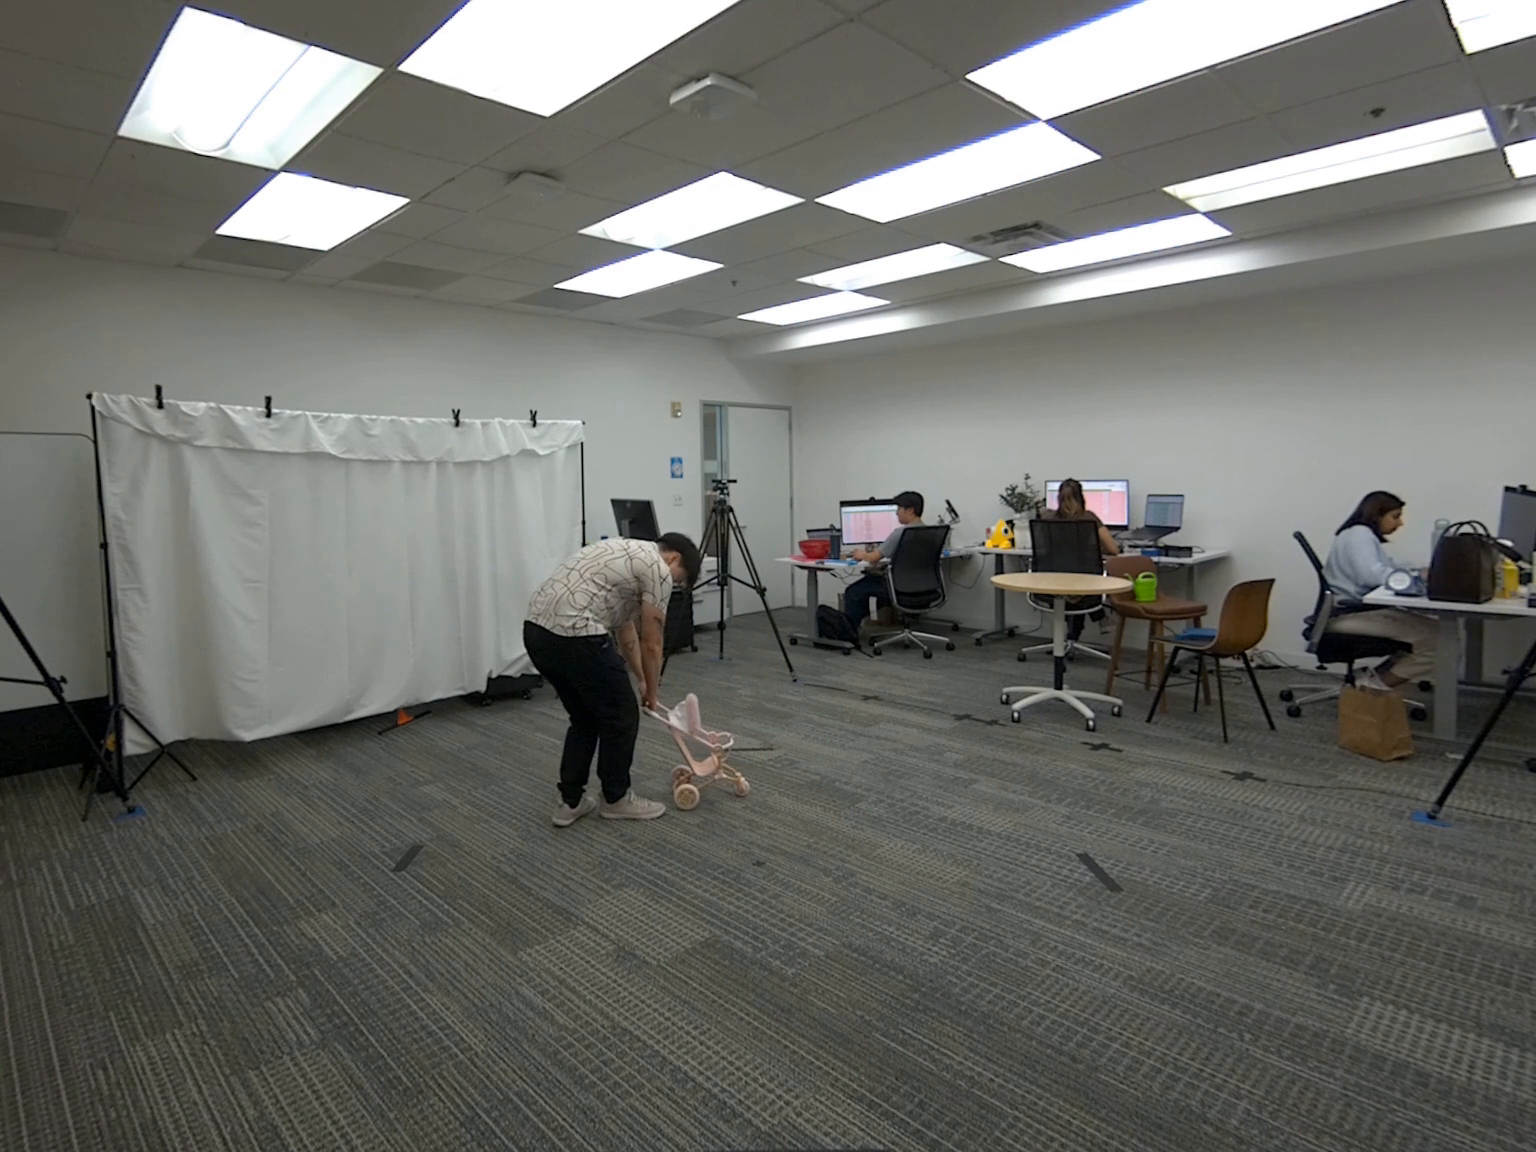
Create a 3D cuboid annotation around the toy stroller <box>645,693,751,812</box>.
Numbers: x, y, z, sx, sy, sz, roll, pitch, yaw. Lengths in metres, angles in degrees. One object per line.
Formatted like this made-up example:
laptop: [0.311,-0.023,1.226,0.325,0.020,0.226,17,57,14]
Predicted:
toy stroller: [-0.308,0.754,3.751,0.341,0.532,0.283,-17,5,-2]
